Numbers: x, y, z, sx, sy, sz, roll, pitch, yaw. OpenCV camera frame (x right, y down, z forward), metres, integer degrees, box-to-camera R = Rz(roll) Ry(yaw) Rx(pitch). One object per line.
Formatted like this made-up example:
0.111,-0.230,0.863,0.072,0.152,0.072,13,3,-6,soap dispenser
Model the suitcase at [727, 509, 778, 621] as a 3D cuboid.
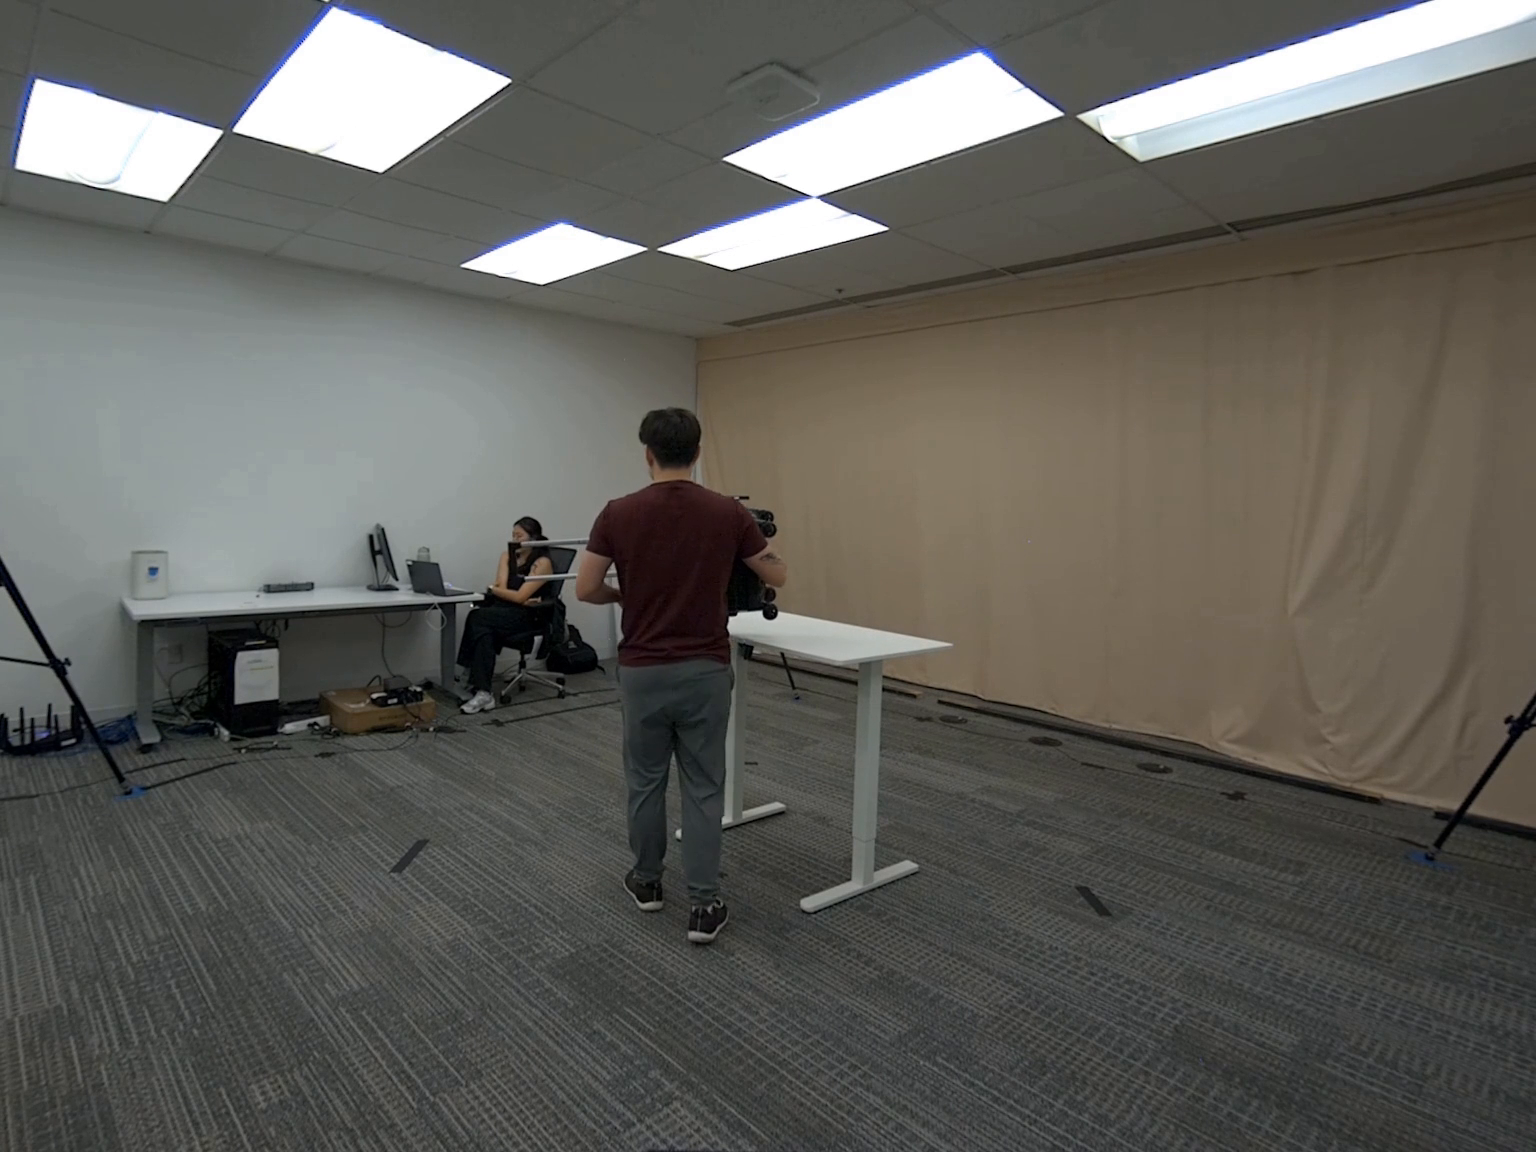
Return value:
-0.459,-0.062,3.018,0.980,0.380,0.259,1,13,2,suitcase
